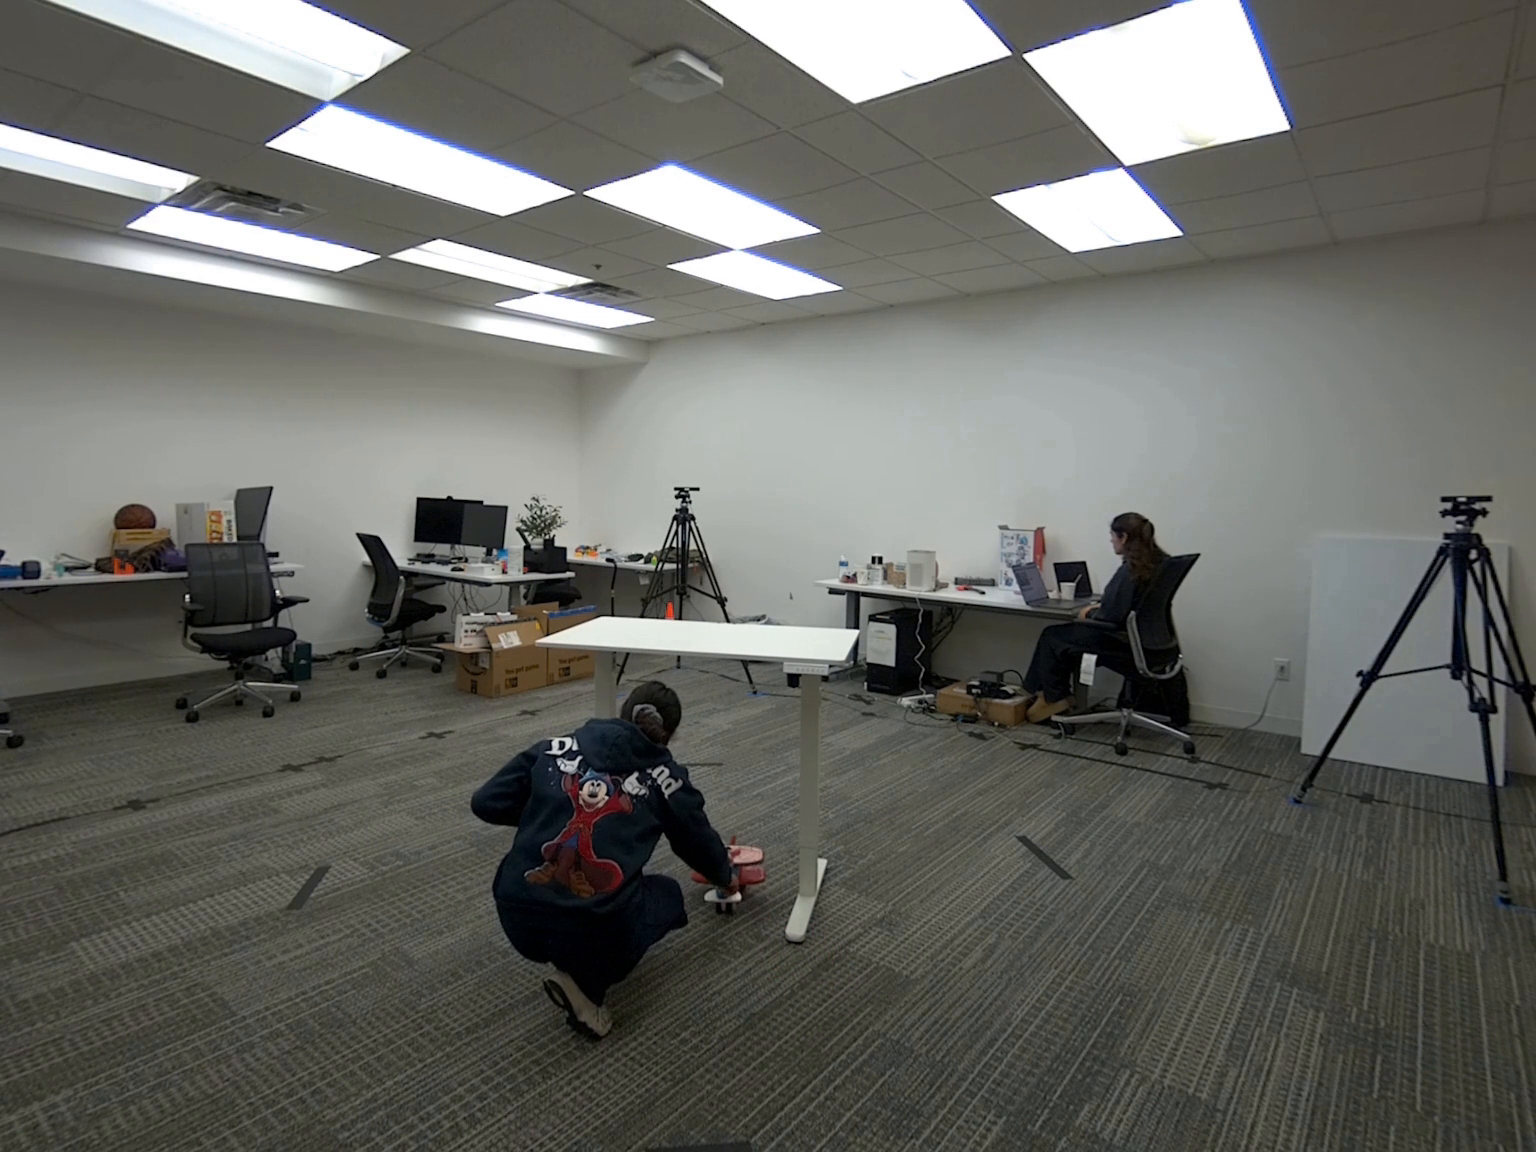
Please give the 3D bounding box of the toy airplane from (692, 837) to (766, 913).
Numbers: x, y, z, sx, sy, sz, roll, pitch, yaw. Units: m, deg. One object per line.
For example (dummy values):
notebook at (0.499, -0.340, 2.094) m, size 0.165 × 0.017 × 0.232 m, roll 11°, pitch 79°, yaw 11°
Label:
toy airplane at (-0.117, 1.015, 2.874) m, size 0.246 × 0.156 × 0.266 m, roll -6°, pitch 6°, yaw -22°
